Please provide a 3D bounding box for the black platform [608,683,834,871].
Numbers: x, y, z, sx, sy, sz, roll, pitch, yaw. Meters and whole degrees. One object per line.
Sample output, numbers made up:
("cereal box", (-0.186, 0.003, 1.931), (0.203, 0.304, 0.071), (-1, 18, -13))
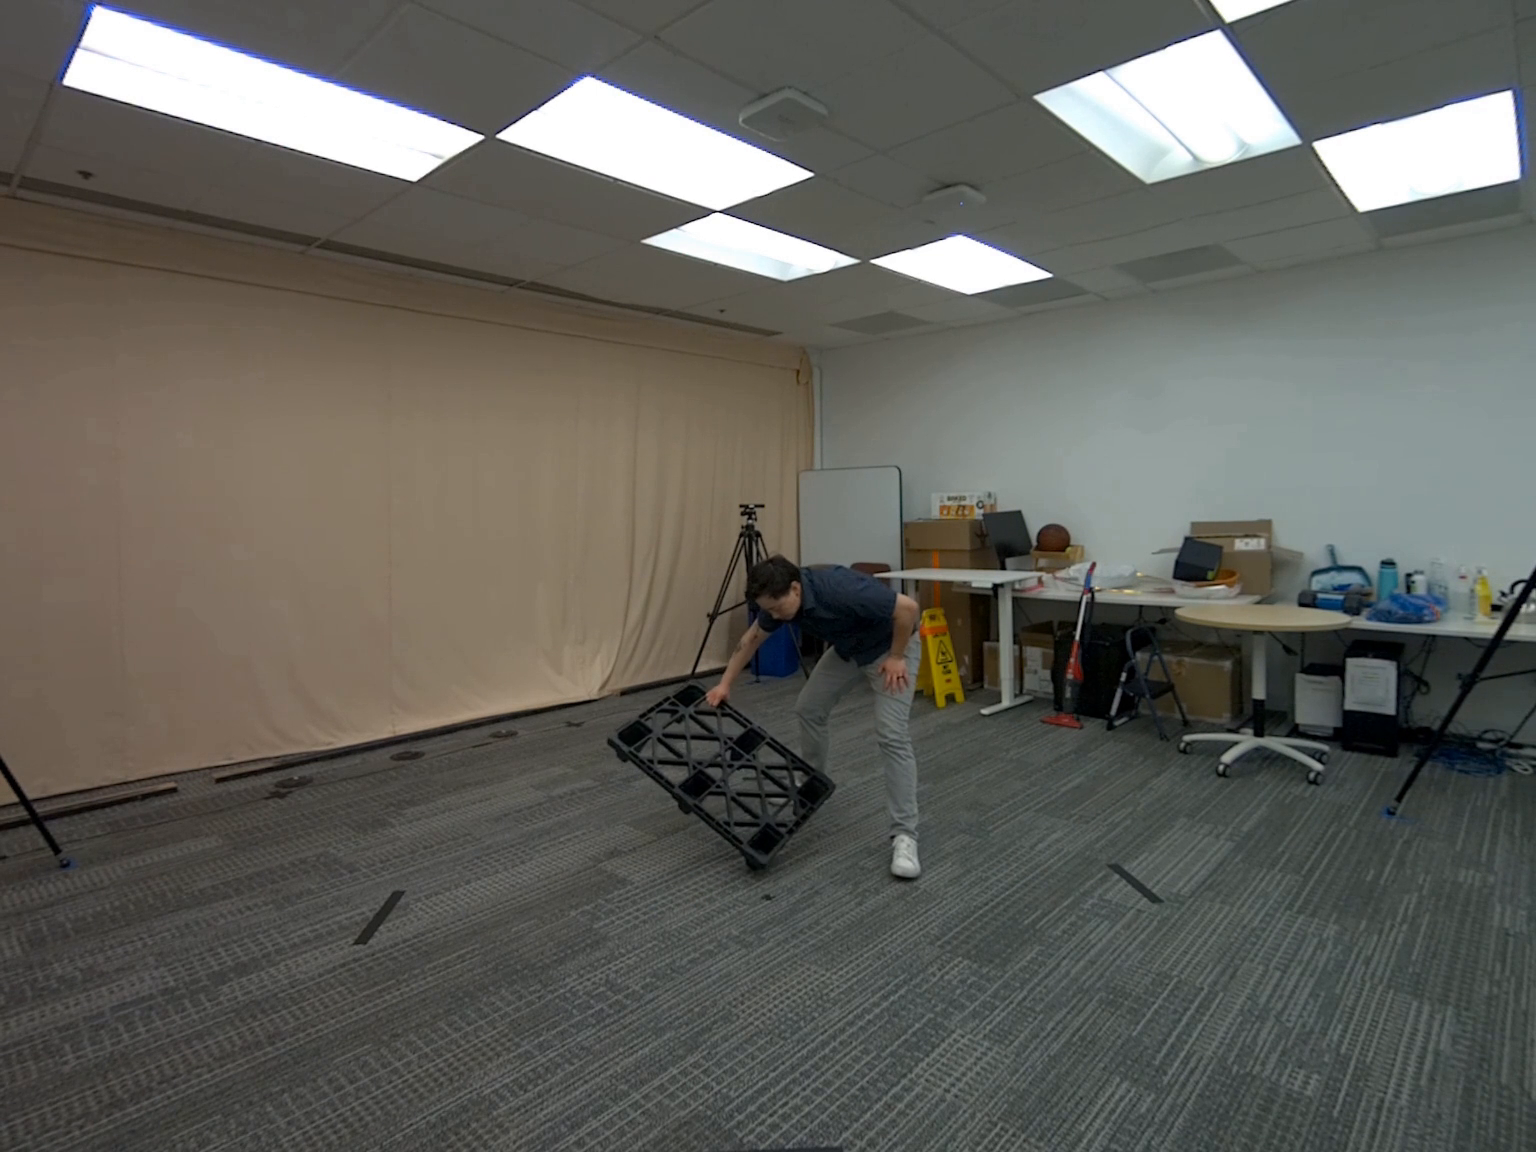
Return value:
("black platform", (-0.199, 0.810, 3.493), (0.827, 0.142, 0.593), (33, 33, 22))
